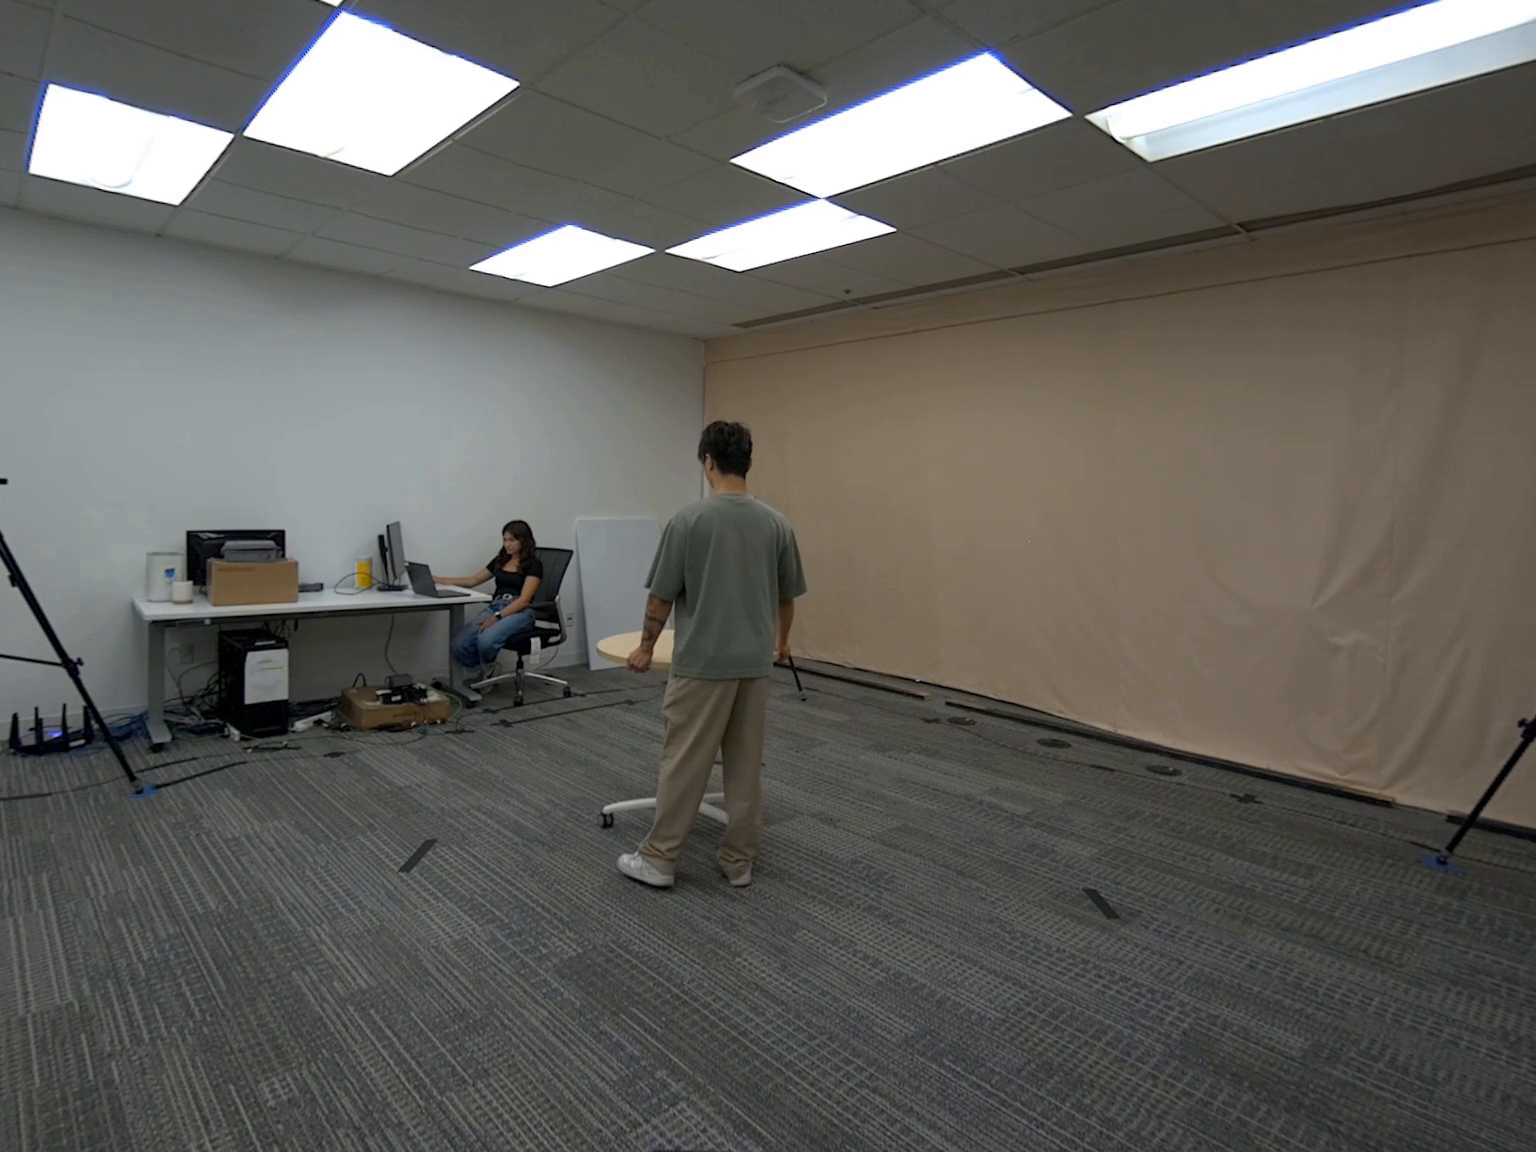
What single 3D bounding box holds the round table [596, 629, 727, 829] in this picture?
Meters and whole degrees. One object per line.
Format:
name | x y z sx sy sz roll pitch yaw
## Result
round table | -0.338 0.675 3.520 0.784 0.784 0.788 2 5 -1
